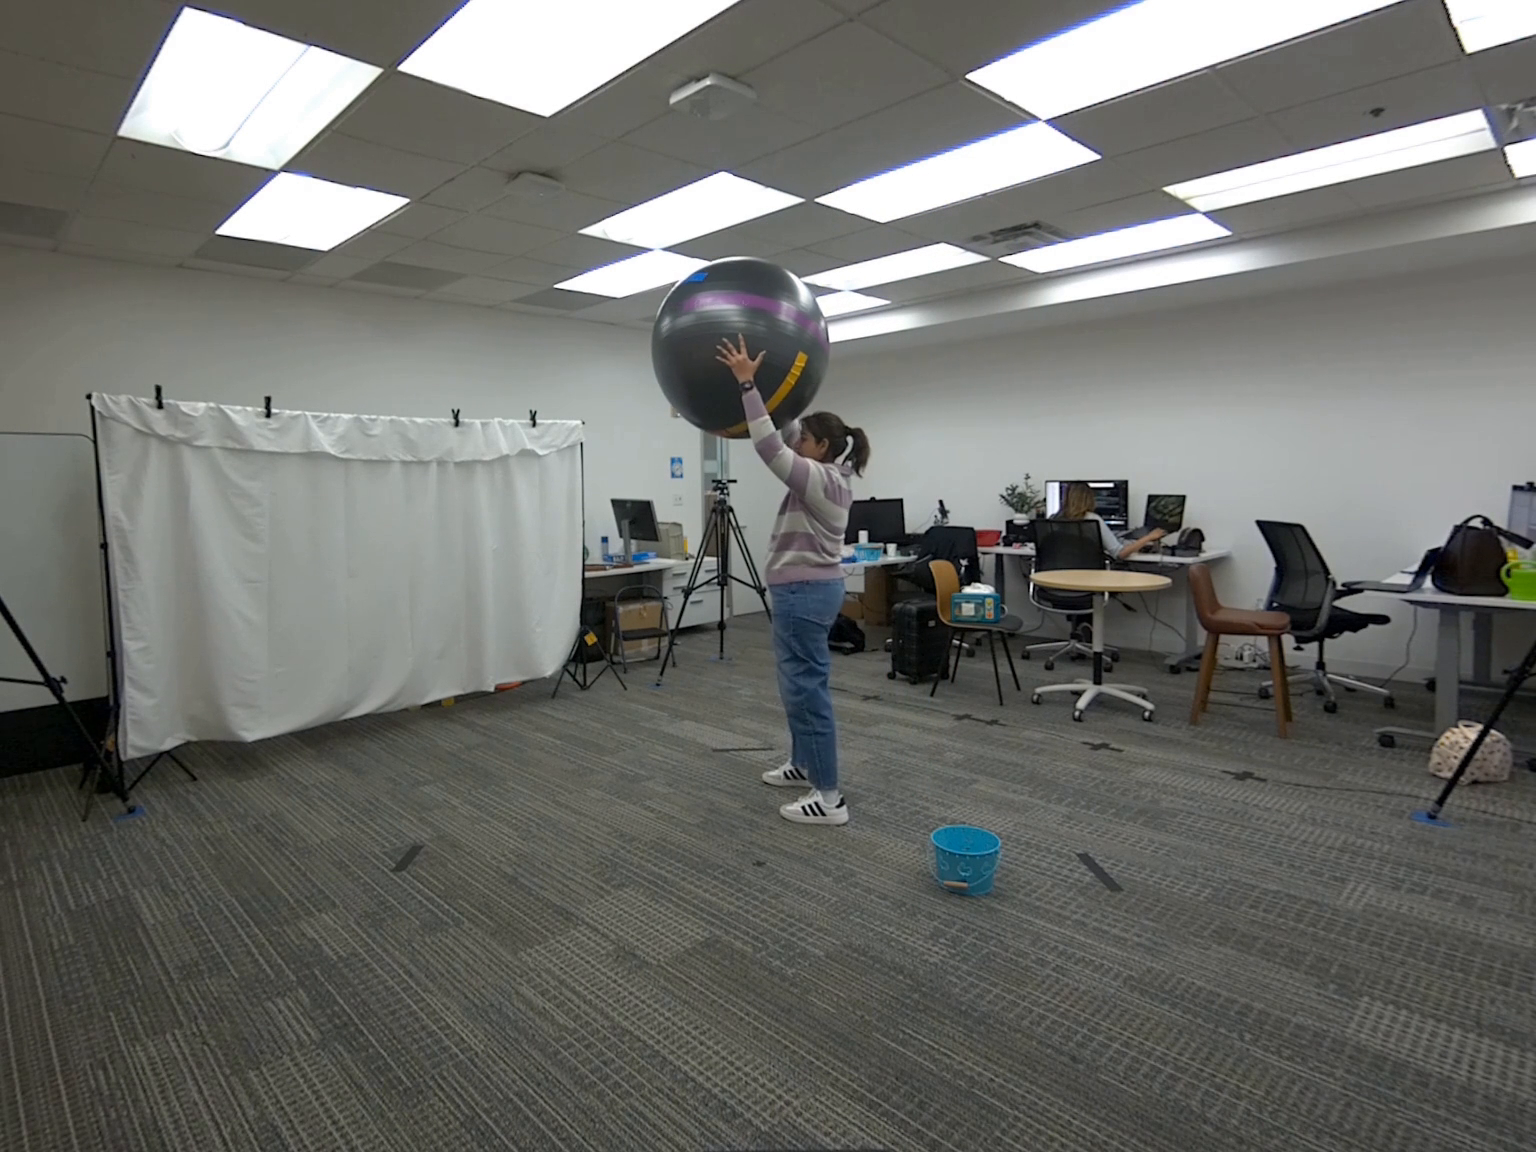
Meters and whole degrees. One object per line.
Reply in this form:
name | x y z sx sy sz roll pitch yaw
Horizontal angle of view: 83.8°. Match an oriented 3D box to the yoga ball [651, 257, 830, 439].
yoga ball | -0.118 -0.959 3.648 0.757 0.755 0.762 -1 5 -2
